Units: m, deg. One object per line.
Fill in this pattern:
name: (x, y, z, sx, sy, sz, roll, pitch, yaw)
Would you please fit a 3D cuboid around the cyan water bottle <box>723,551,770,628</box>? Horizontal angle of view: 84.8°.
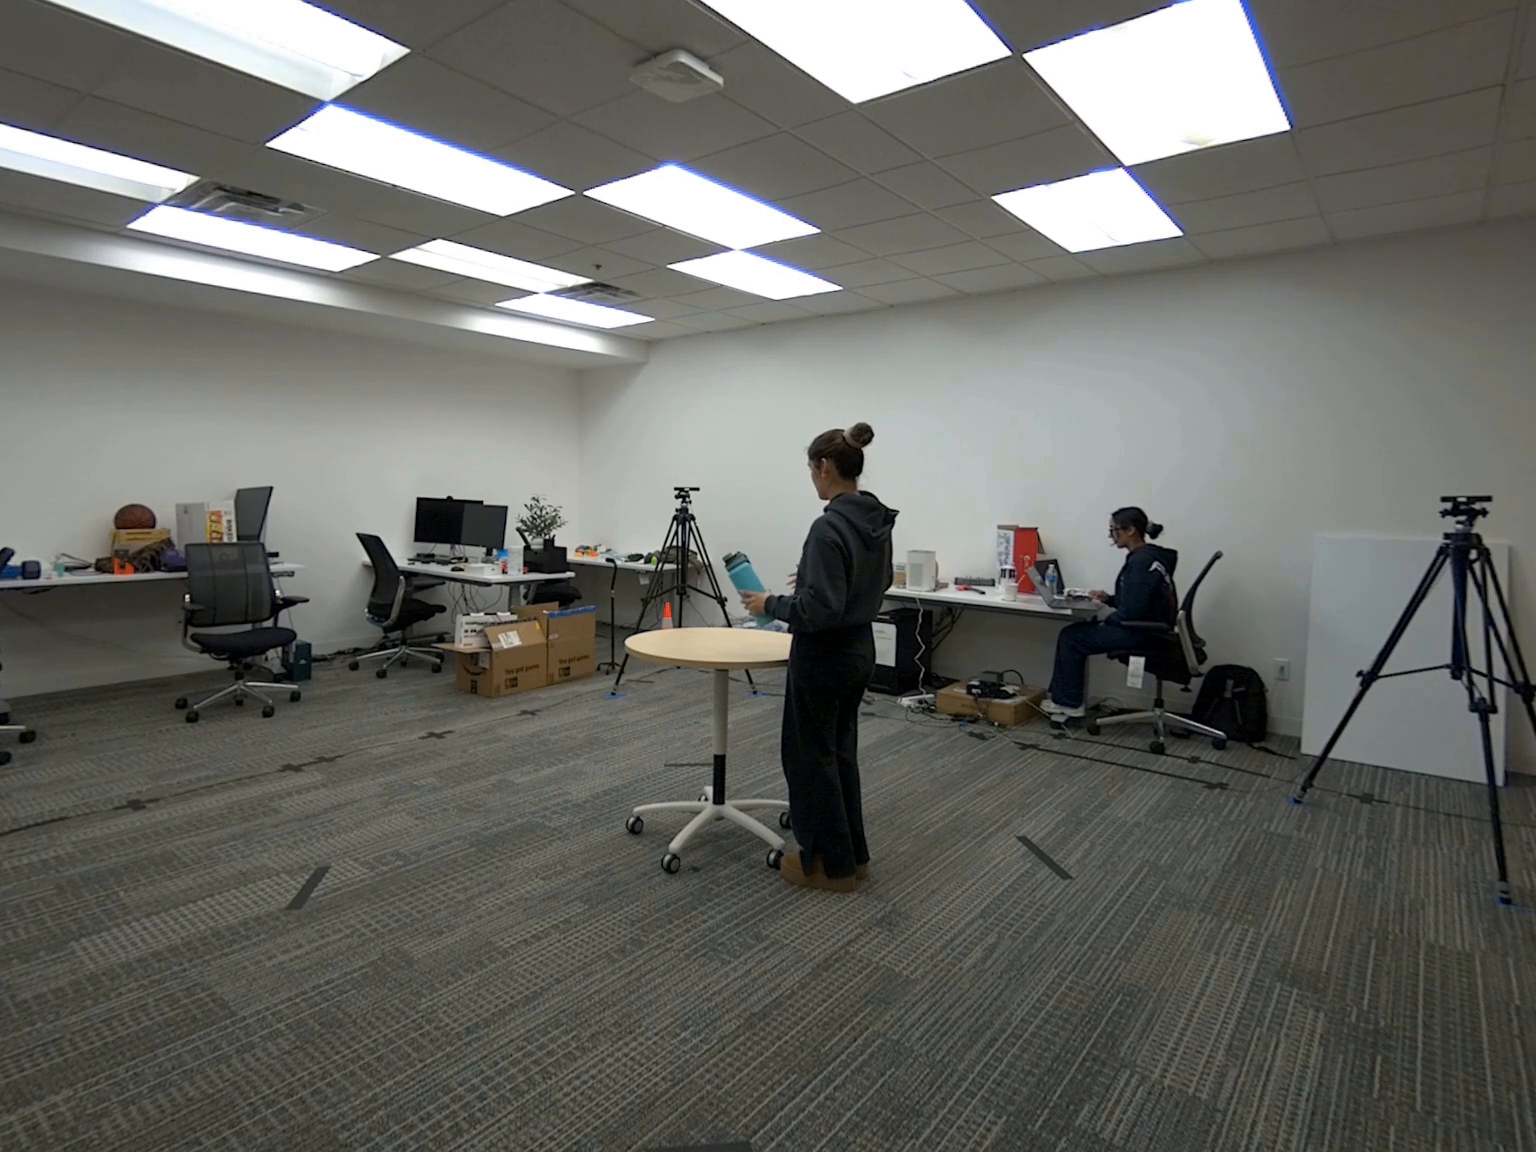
cyan water bottle: (-0.060, 0.013, 3.032, 0.092, 0.285, 0.092, -29, -5, -4)
